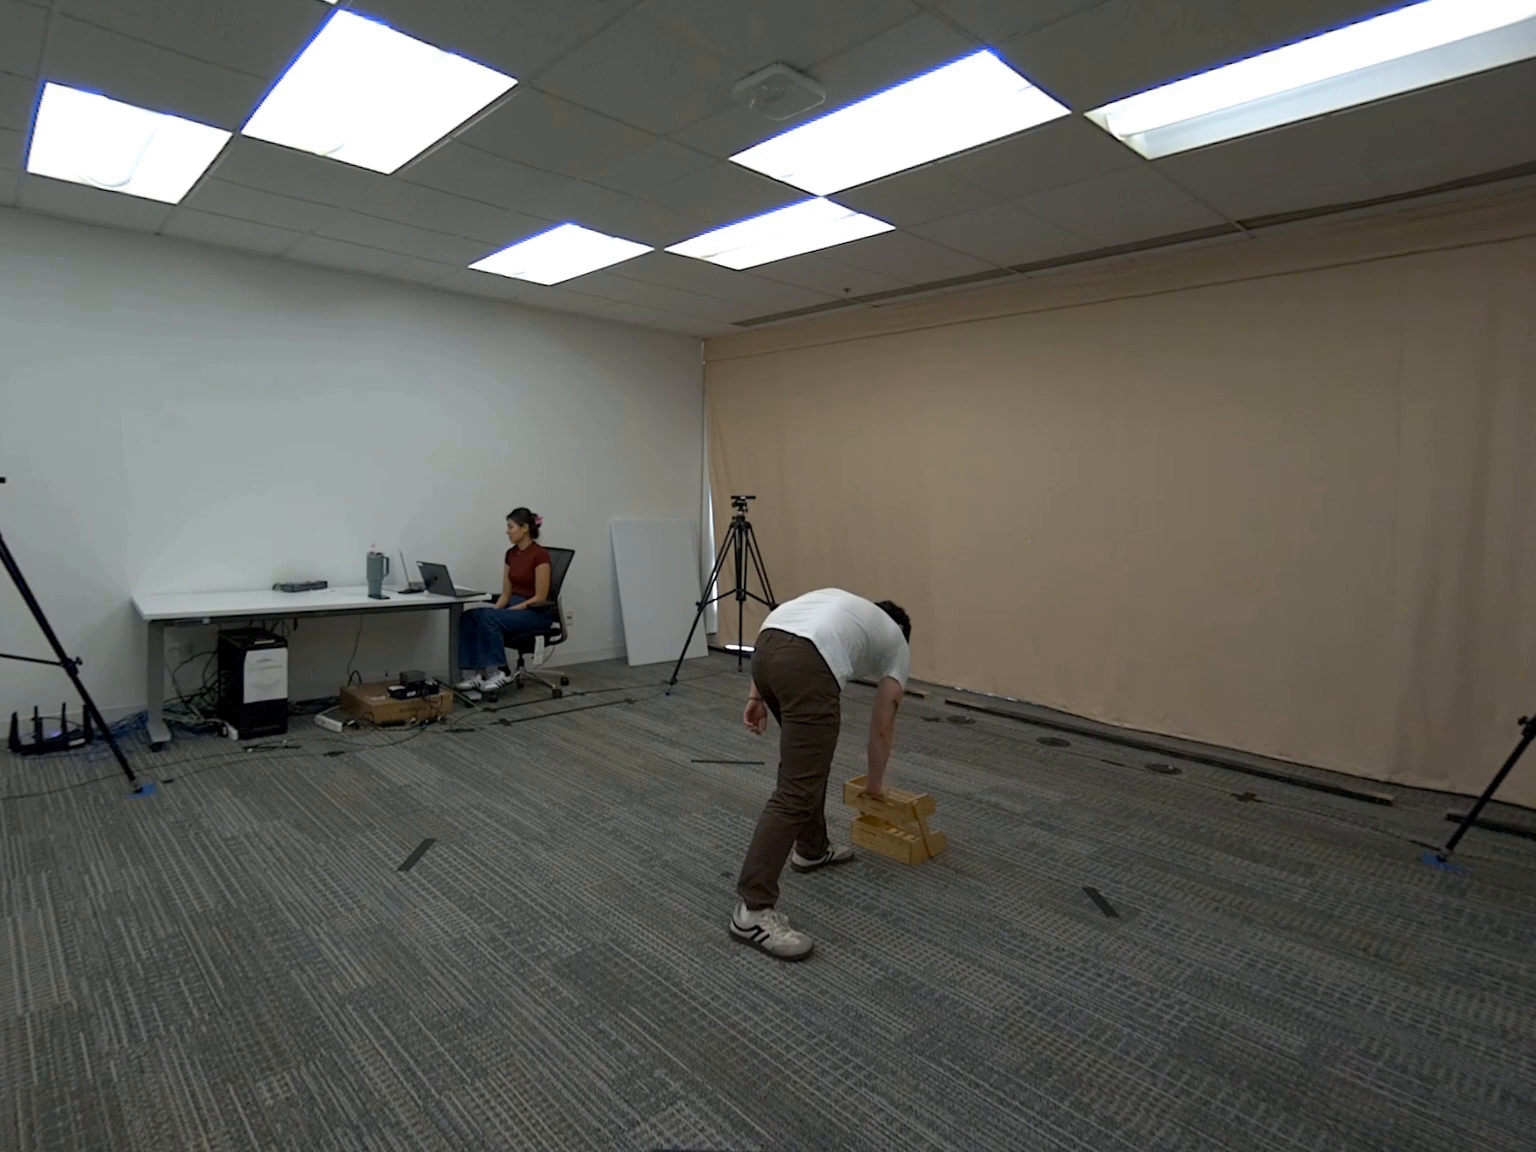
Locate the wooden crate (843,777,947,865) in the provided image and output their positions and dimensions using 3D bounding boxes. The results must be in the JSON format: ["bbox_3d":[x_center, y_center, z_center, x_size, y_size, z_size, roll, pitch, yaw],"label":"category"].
[{"bbox_3d":[0.509,0.960,3.385,0.295,0.272,0.333,-3,7,-44],"label":"wooden crate"}]
